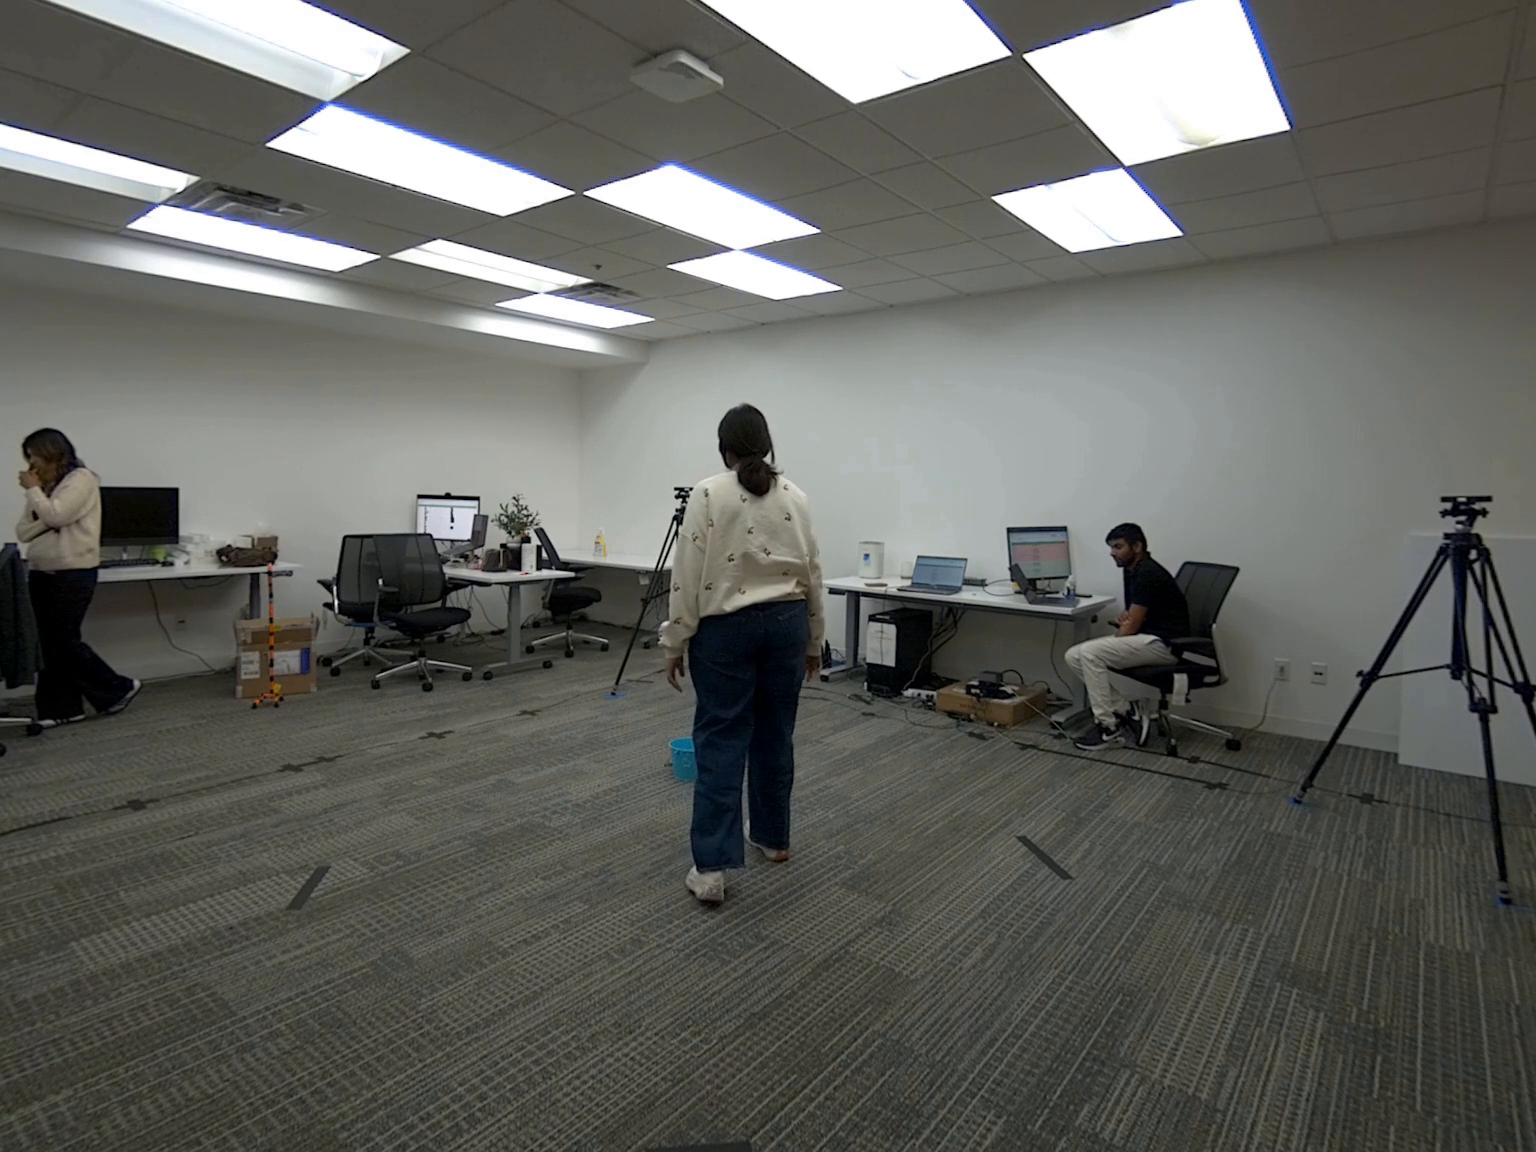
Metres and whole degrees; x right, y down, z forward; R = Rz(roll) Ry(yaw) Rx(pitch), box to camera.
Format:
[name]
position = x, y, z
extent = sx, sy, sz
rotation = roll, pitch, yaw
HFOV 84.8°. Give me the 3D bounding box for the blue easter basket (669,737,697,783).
[blue easter basket]
position = -0.381, 0.884, 4.124
extent = 0.243, 0.155, 0.245
rotation = 0, 5, -2
